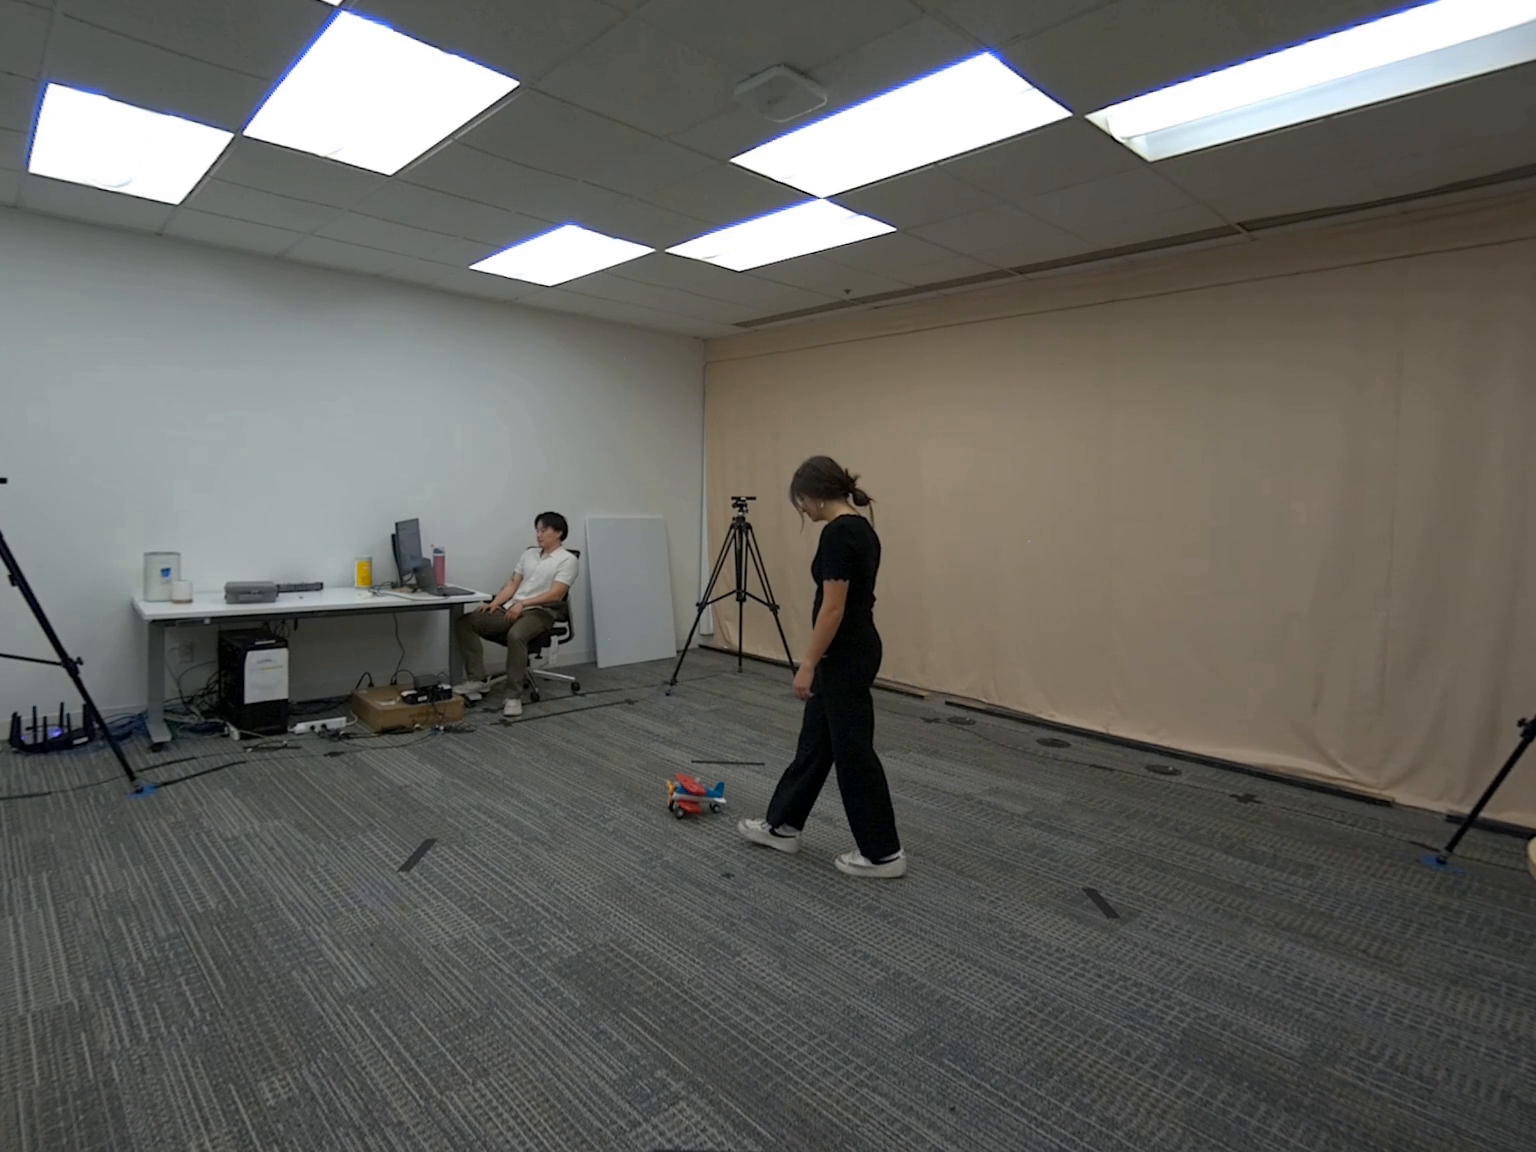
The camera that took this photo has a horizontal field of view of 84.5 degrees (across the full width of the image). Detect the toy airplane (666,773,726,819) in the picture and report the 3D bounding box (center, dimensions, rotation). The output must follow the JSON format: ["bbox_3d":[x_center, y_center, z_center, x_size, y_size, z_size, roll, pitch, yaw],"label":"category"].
[{"bbox_3d":[-0.338,0.970,3.729,0.257,0.156,0.253,3,5,39],"label":"toy airplane"}]
